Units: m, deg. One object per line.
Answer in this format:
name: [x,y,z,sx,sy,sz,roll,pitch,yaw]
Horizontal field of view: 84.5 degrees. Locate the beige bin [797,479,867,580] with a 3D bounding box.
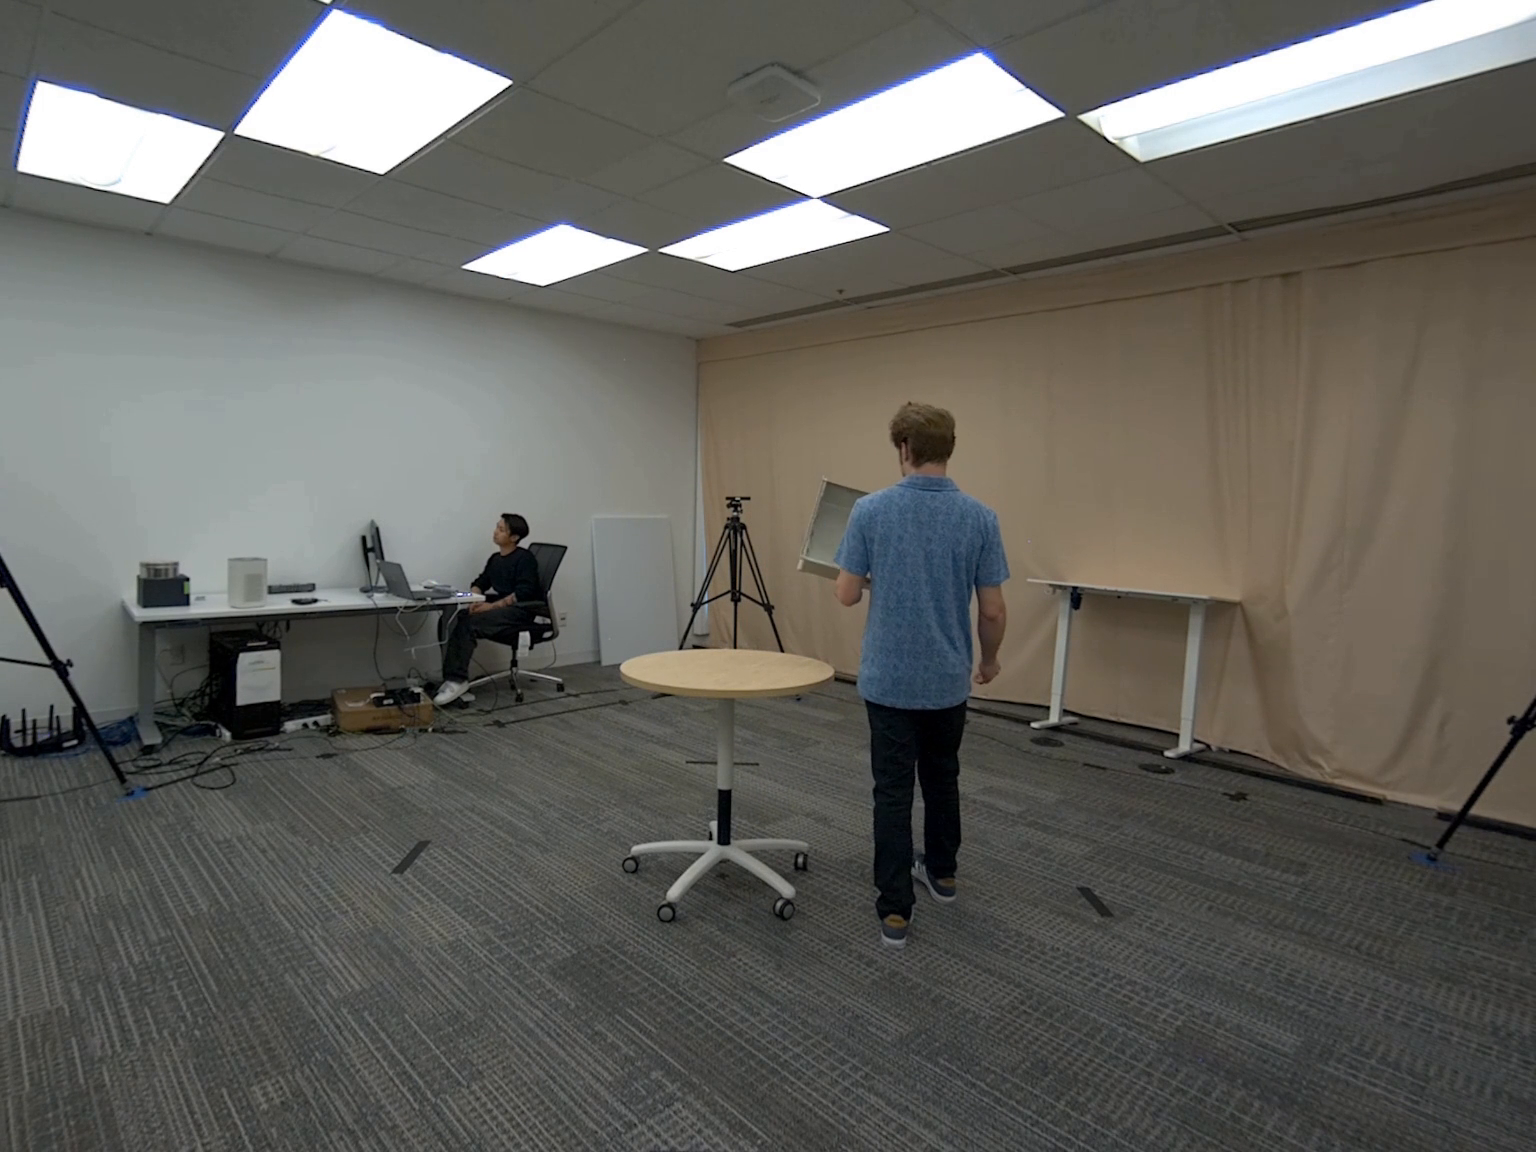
beige bin: [0.354,-0.150,3.161,0.423,0.380,0.187,18,-19,3]
